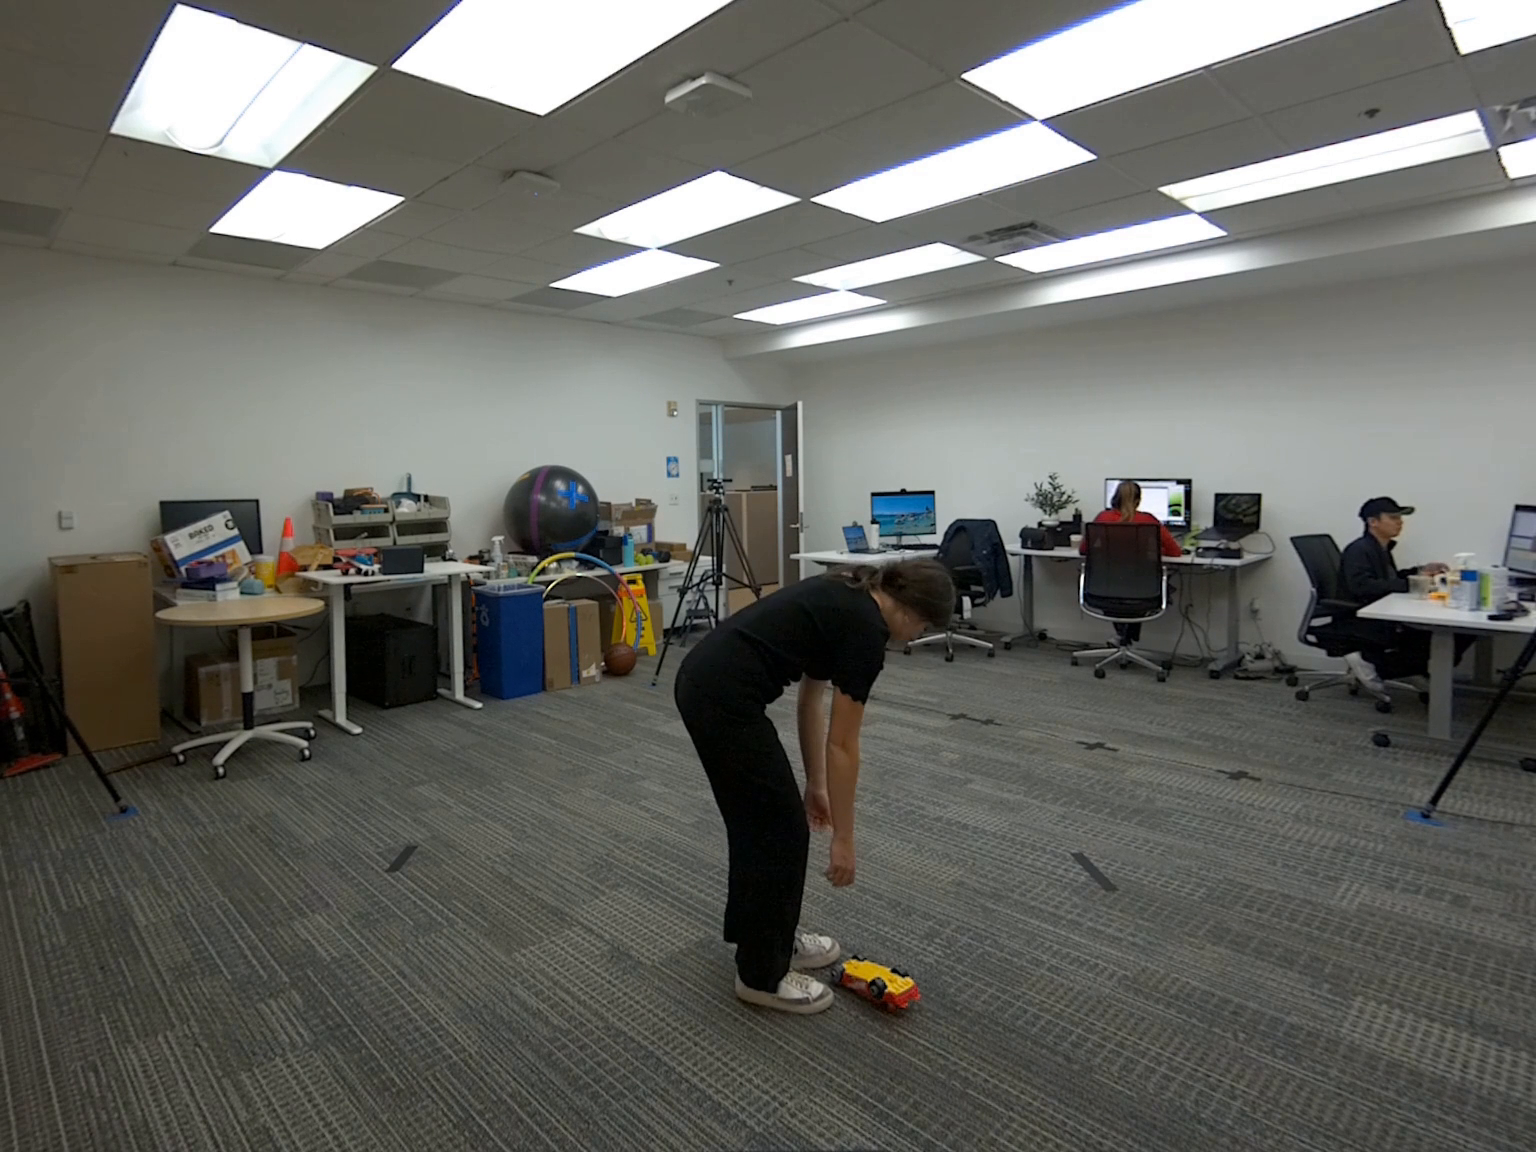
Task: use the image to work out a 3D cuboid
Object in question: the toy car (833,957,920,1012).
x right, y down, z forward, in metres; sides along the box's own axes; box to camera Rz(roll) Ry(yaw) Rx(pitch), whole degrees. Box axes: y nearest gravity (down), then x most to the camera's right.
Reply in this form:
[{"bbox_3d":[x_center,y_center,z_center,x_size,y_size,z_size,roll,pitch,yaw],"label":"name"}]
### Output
[{"bbox_3d":[0.292,1.088,2.300,0.127,0.083,0.262,-6,8,-40],"label":"toy car"}]
